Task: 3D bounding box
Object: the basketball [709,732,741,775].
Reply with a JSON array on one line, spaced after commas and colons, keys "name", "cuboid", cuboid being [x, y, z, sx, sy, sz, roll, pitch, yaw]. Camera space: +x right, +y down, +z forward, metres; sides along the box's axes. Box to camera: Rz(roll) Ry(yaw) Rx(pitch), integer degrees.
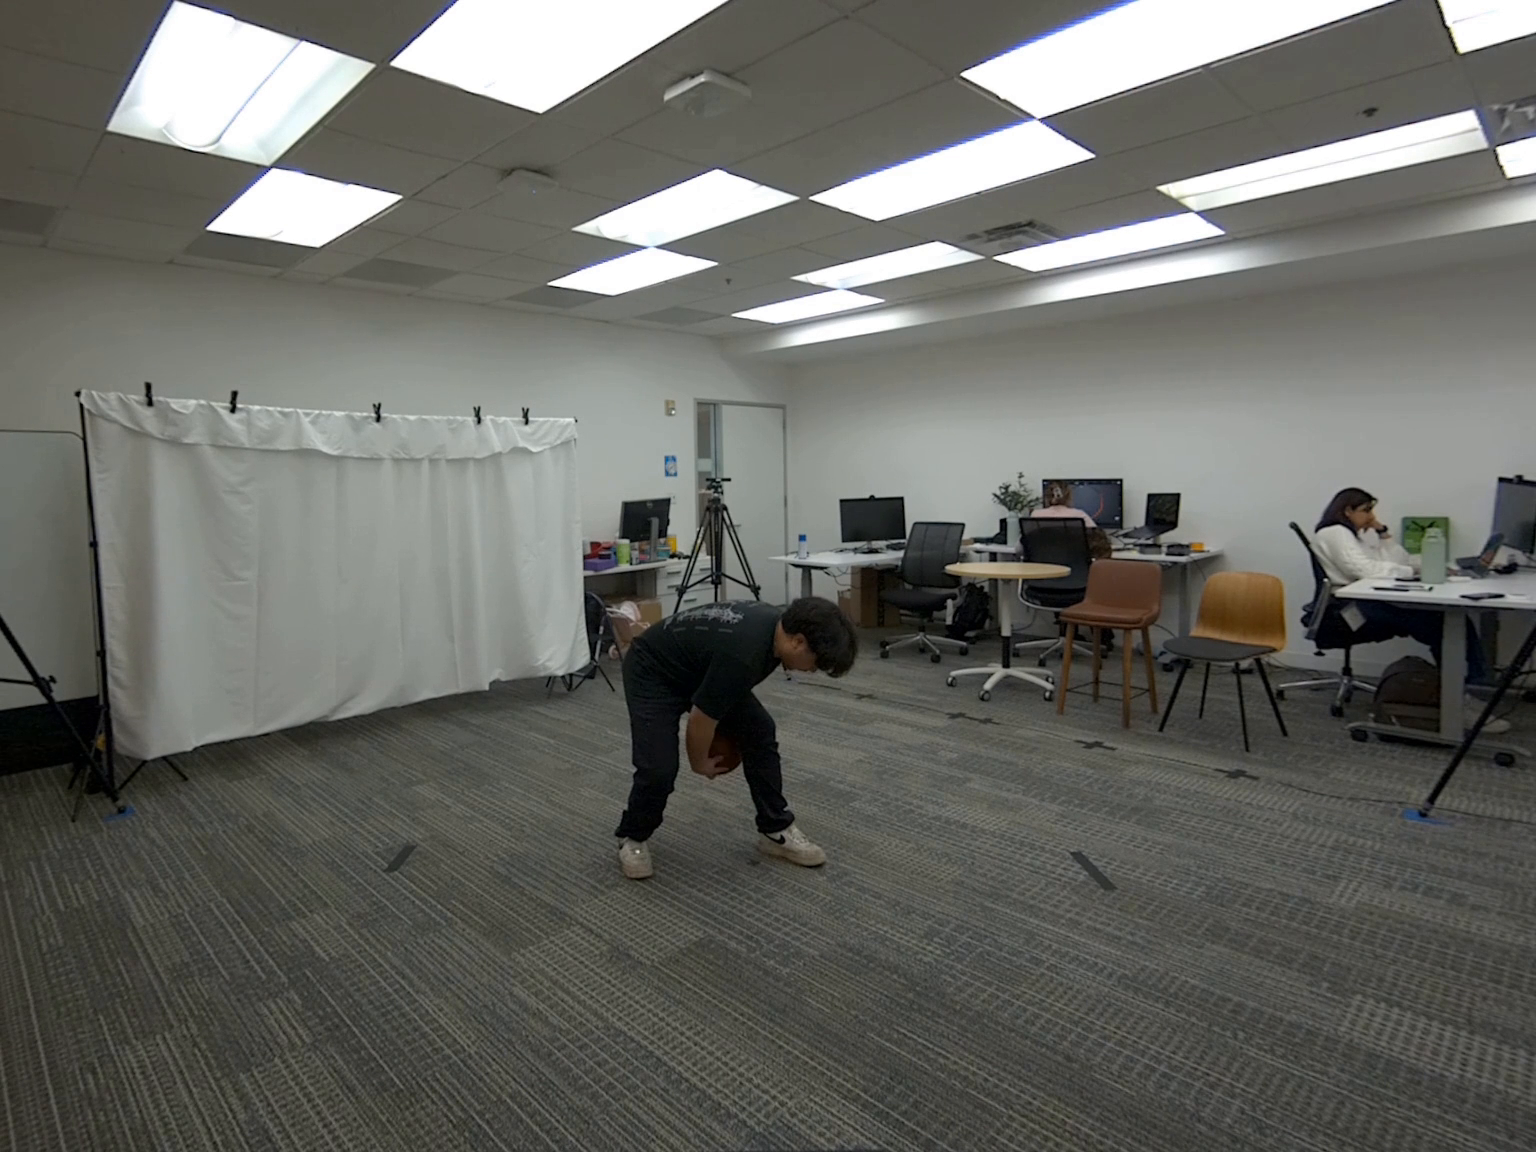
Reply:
[{"name": "basketball", "cuboid": [-0.191, 0.647, 3.325, 0.236, 0.235, 0.237, -1, 5, -2]}]
